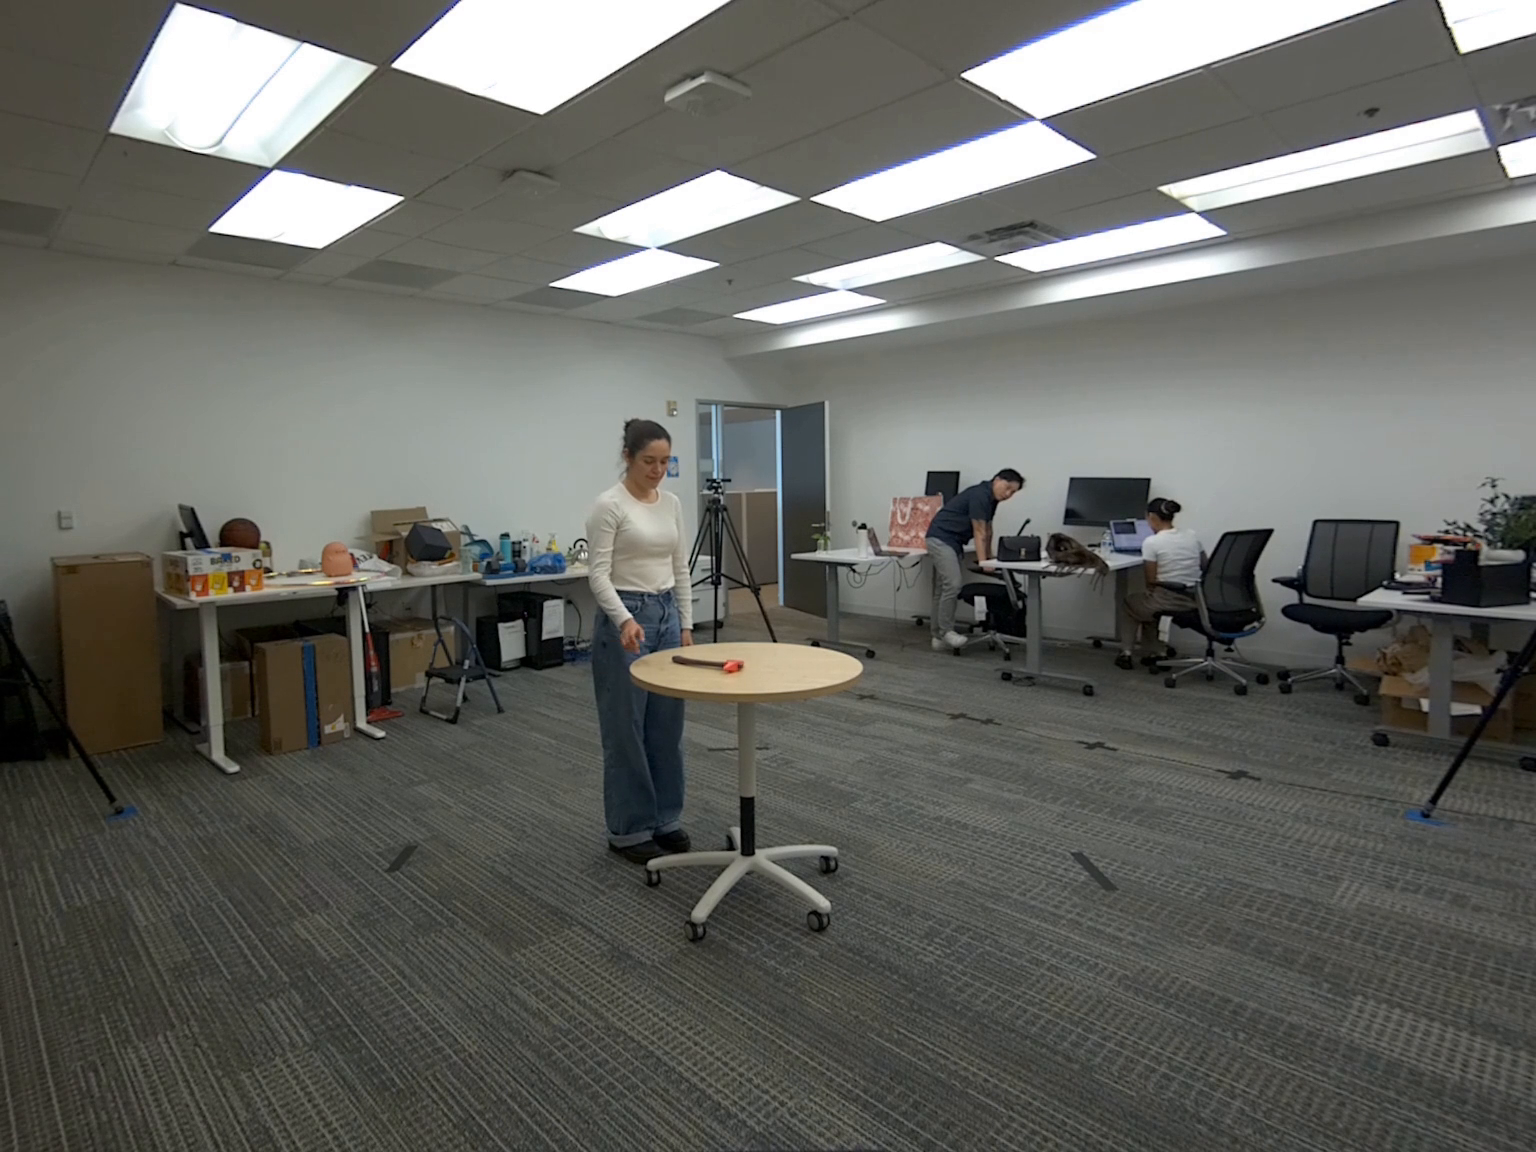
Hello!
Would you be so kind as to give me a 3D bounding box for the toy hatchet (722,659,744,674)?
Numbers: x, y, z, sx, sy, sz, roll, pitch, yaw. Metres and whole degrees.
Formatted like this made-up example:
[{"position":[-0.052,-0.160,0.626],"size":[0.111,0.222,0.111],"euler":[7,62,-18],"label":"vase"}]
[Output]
[{"position":[-0.186,0.282,2.815],"size":[0.278,0.029,0.127],"euler":[4,6,44],"label":"toy hatchet"}]
